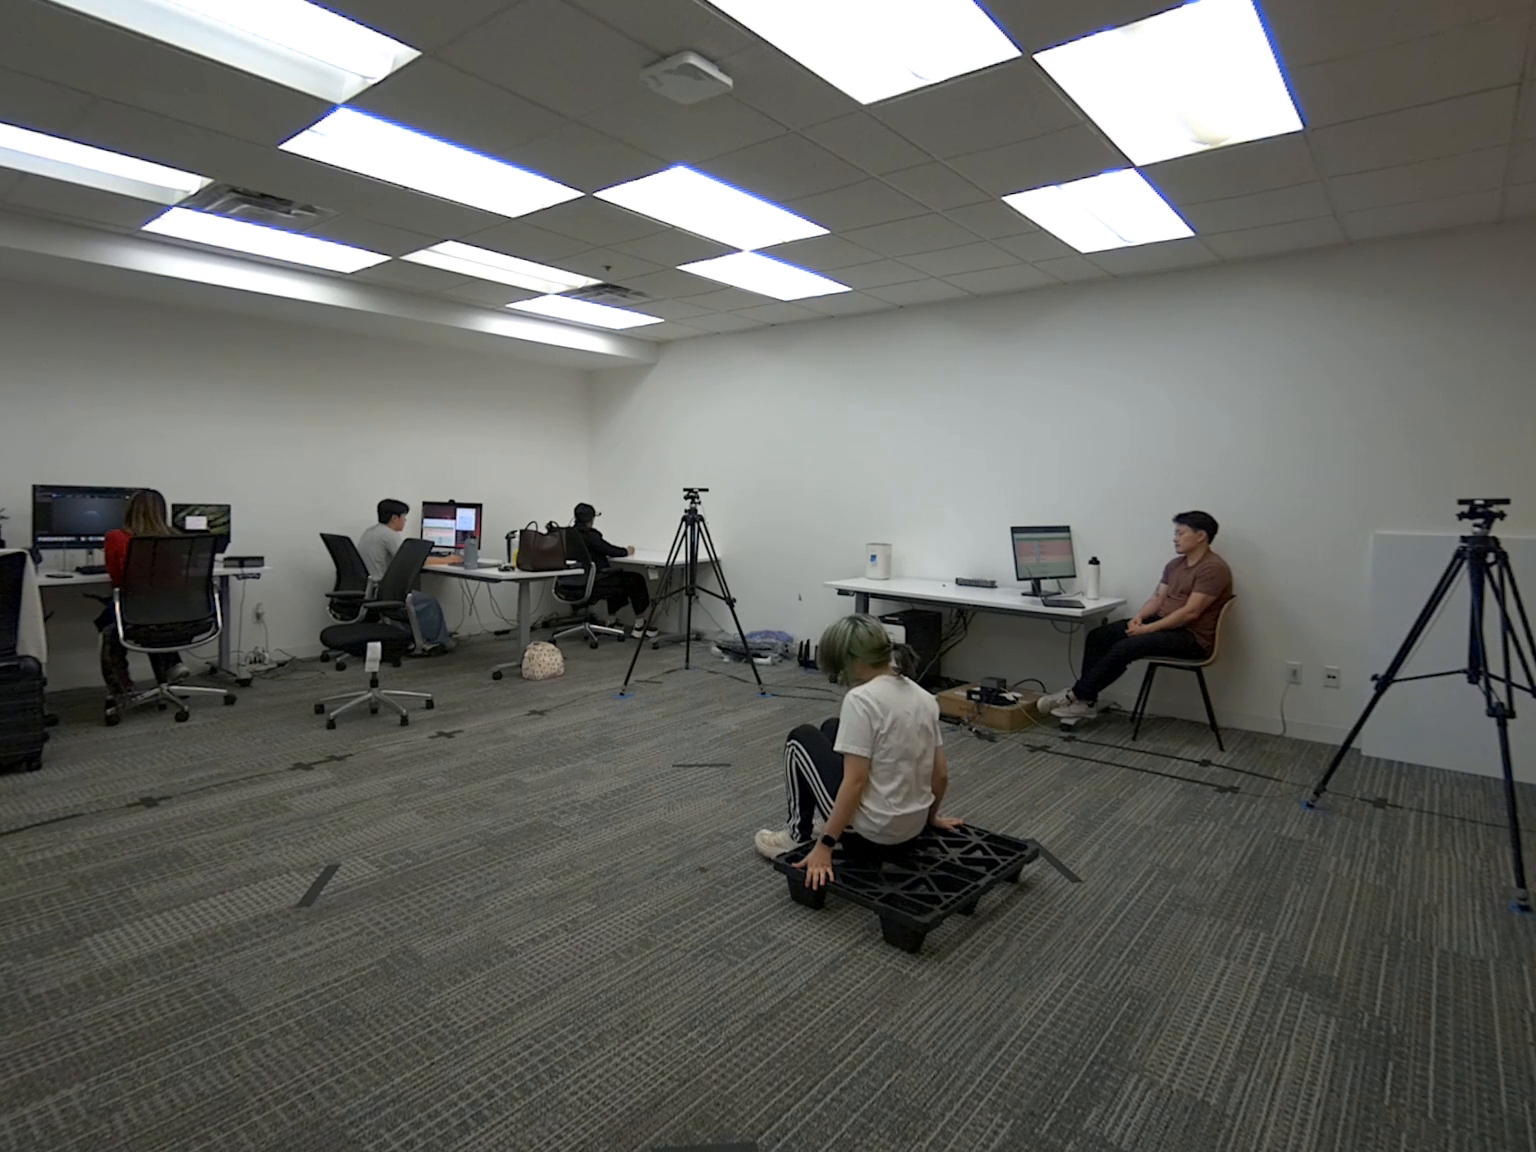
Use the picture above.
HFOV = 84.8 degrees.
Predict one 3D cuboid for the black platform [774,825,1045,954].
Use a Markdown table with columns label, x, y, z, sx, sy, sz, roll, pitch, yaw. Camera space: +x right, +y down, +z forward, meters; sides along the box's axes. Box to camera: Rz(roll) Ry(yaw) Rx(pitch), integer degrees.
| label | x | y | z | sx | sy | sz | roll | pitch | yaw |
| --- | --- | --- | --- | --- | --- | --- | --- | --- | --- |
| black platform | 0.484 | 1.032 | 2.985 | 0.626 | 0.143 | 0.781 | 5 | 6 | 42 |
